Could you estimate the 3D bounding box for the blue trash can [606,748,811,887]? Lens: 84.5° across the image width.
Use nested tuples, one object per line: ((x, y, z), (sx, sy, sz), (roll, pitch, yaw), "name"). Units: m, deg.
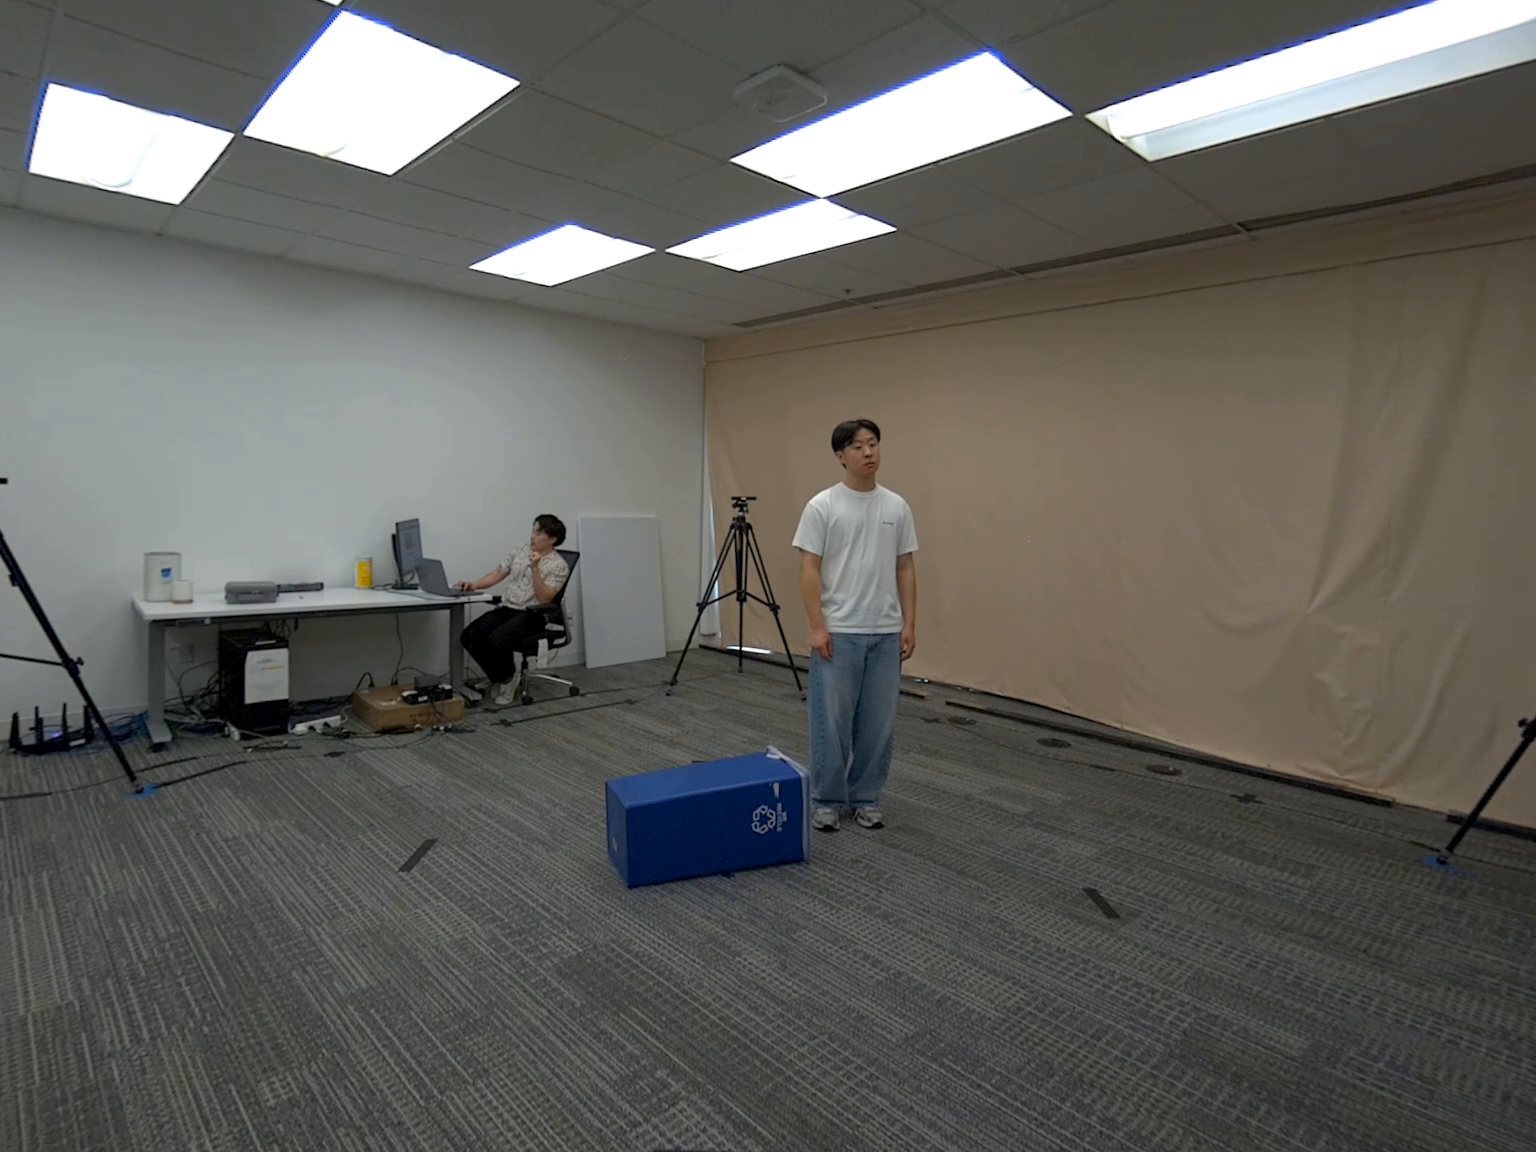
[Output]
((-0.242, 0.929, 3.227), (0.702, 0.377, 0.381), (-3, 5, -23), "blue trash can")
